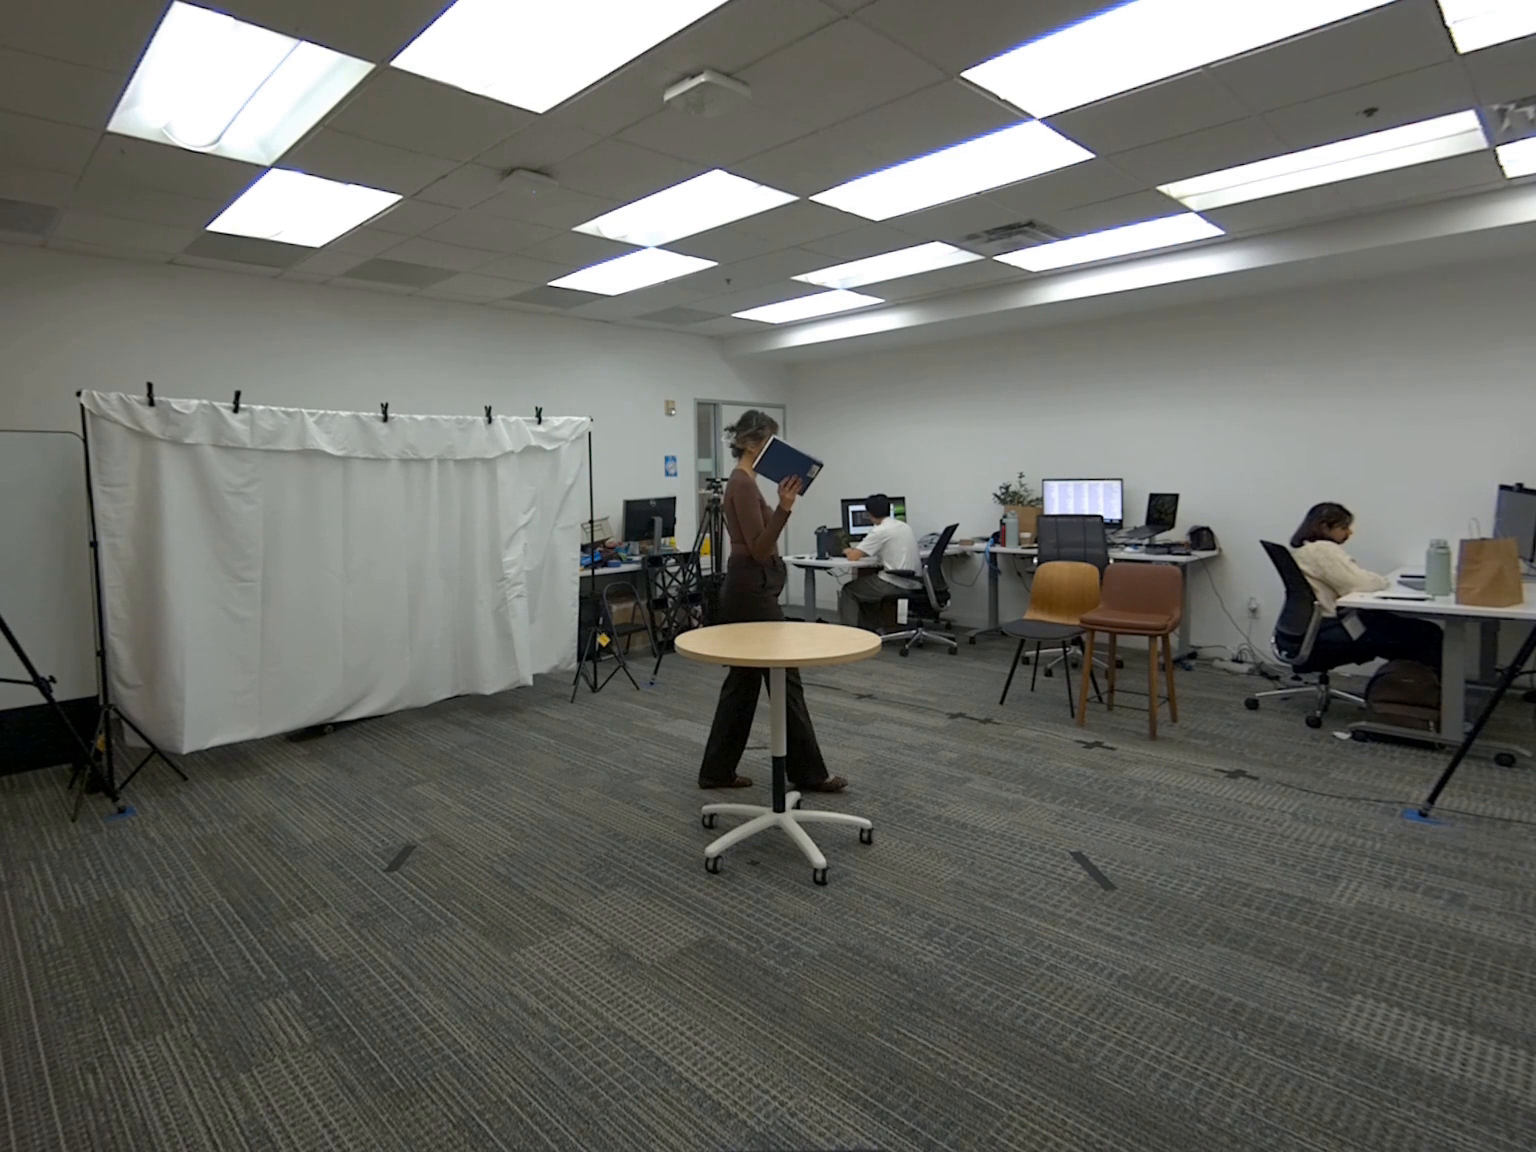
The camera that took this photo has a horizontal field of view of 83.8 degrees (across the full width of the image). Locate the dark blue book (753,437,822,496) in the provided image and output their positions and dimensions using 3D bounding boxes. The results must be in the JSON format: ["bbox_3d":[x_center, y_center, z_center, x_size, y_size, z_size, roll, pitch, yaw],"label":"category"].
[{"bbox_3d":[0.085,-0.446,3.424,0.240,0.162,0.046,26,21,-15],"label":"dark blue book"}]
